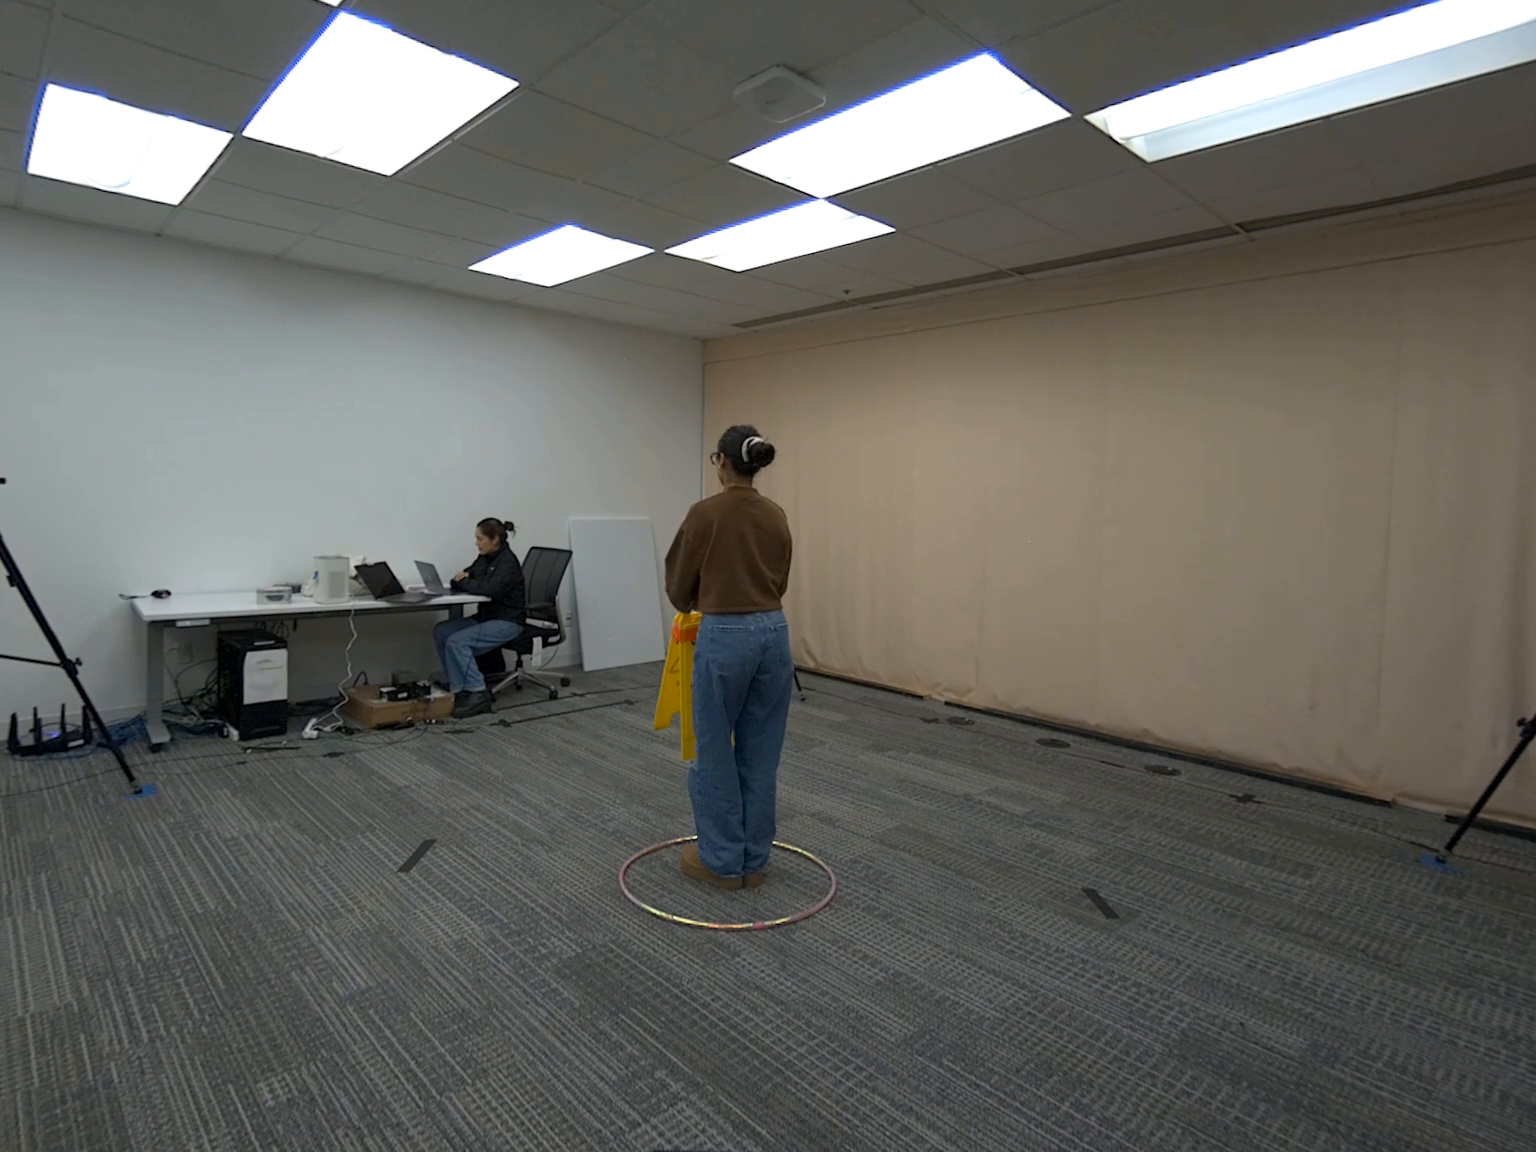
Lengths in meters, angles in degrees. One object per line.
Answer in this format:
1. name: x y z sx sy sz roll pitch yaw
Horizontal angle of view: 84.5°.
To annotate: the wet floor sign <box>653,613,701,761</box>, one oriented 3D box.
1. wet floor sign: -0.285 0.382 3.447 0.277 0.638 0.298 -8 21 -32
